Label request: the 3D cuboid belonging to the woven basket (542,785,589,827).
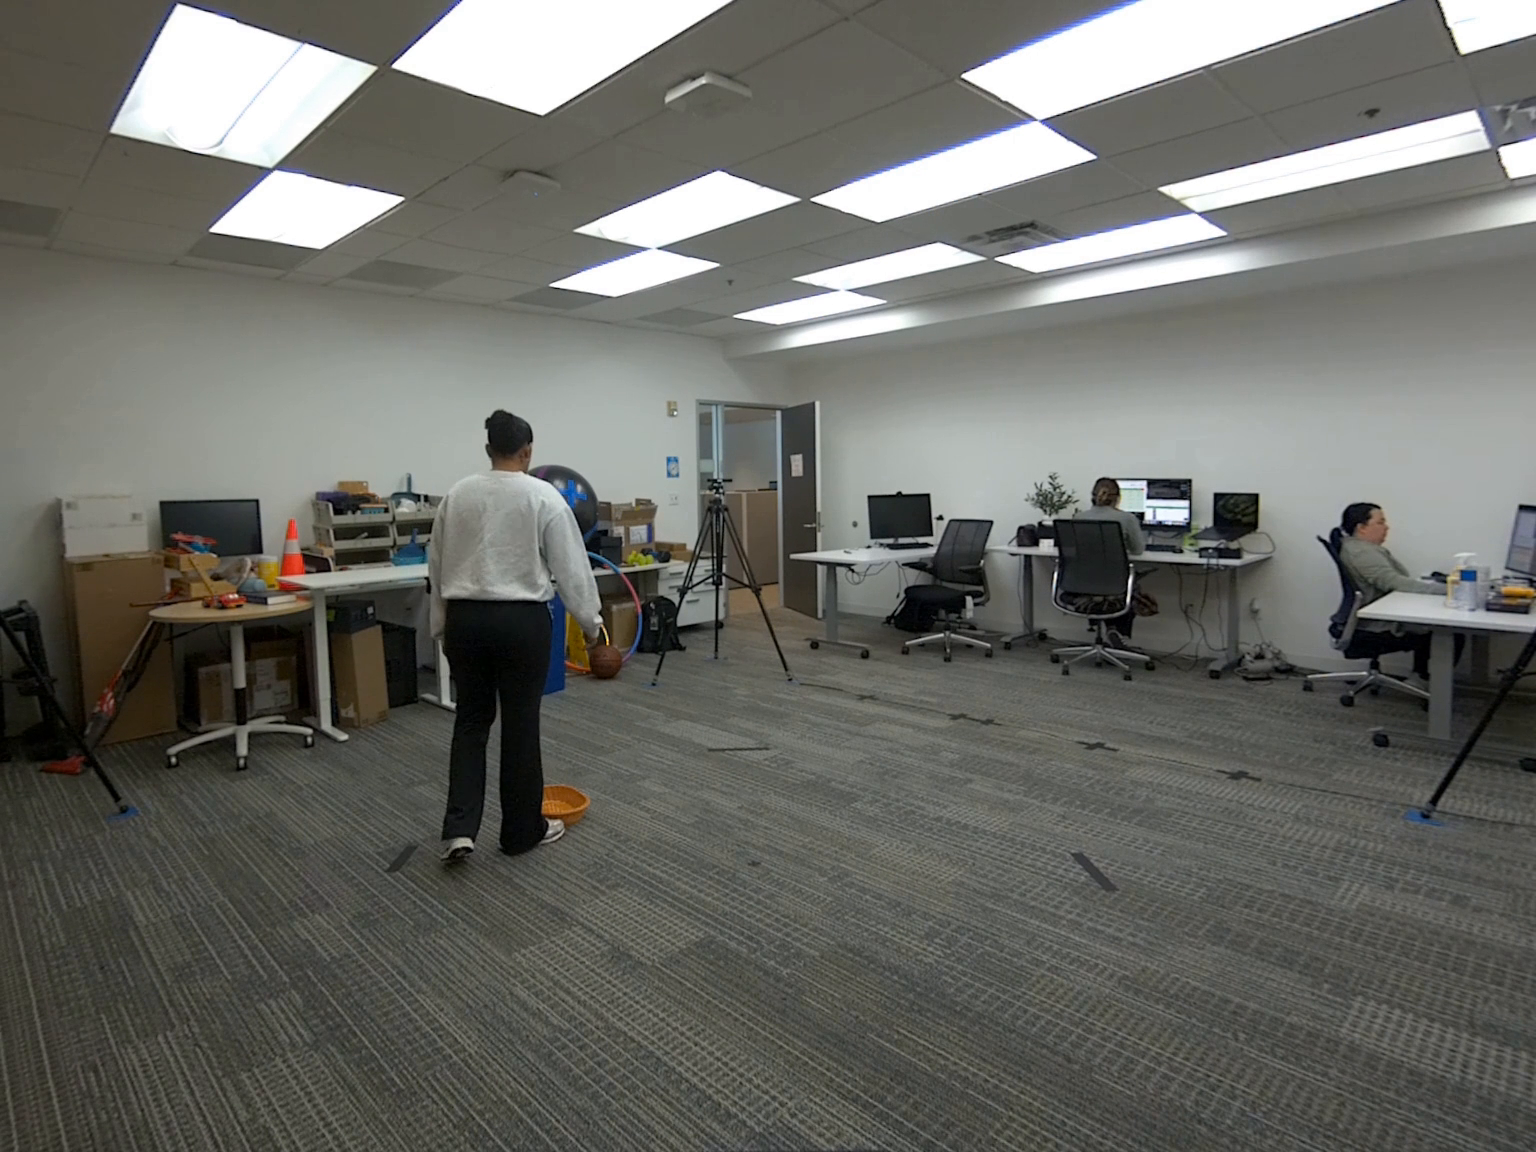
[{"bbox_3d":[-0.891,0.969,3.599,0.246,0.073,0.361,-5,8,-34],"label":"woven basket"}]
